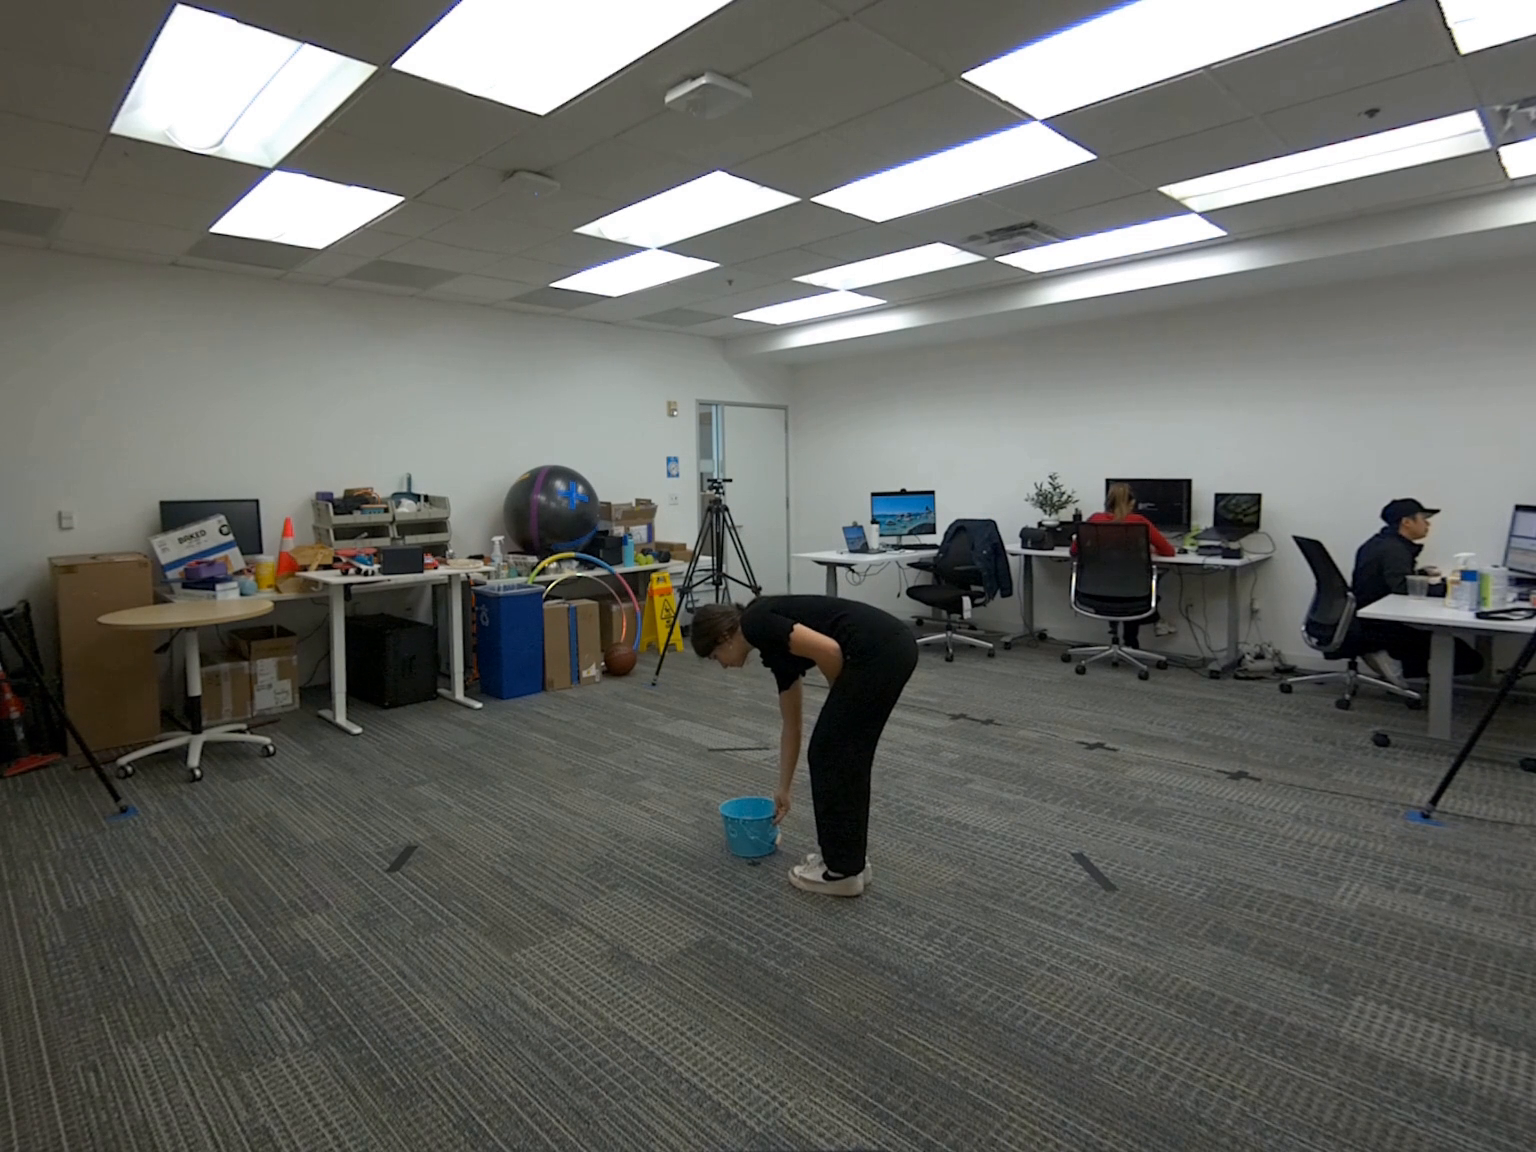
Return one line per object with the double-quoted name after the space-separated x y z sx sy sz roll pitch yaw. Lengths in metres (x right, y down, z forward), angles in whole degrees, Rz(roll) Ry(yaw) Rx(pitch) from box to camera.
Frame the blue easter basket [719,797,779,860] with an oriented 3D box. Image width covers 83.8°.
-0.060 0.952 3.231 0.243 0.155 0.244 -1 3 -2 "blue easter basket"
